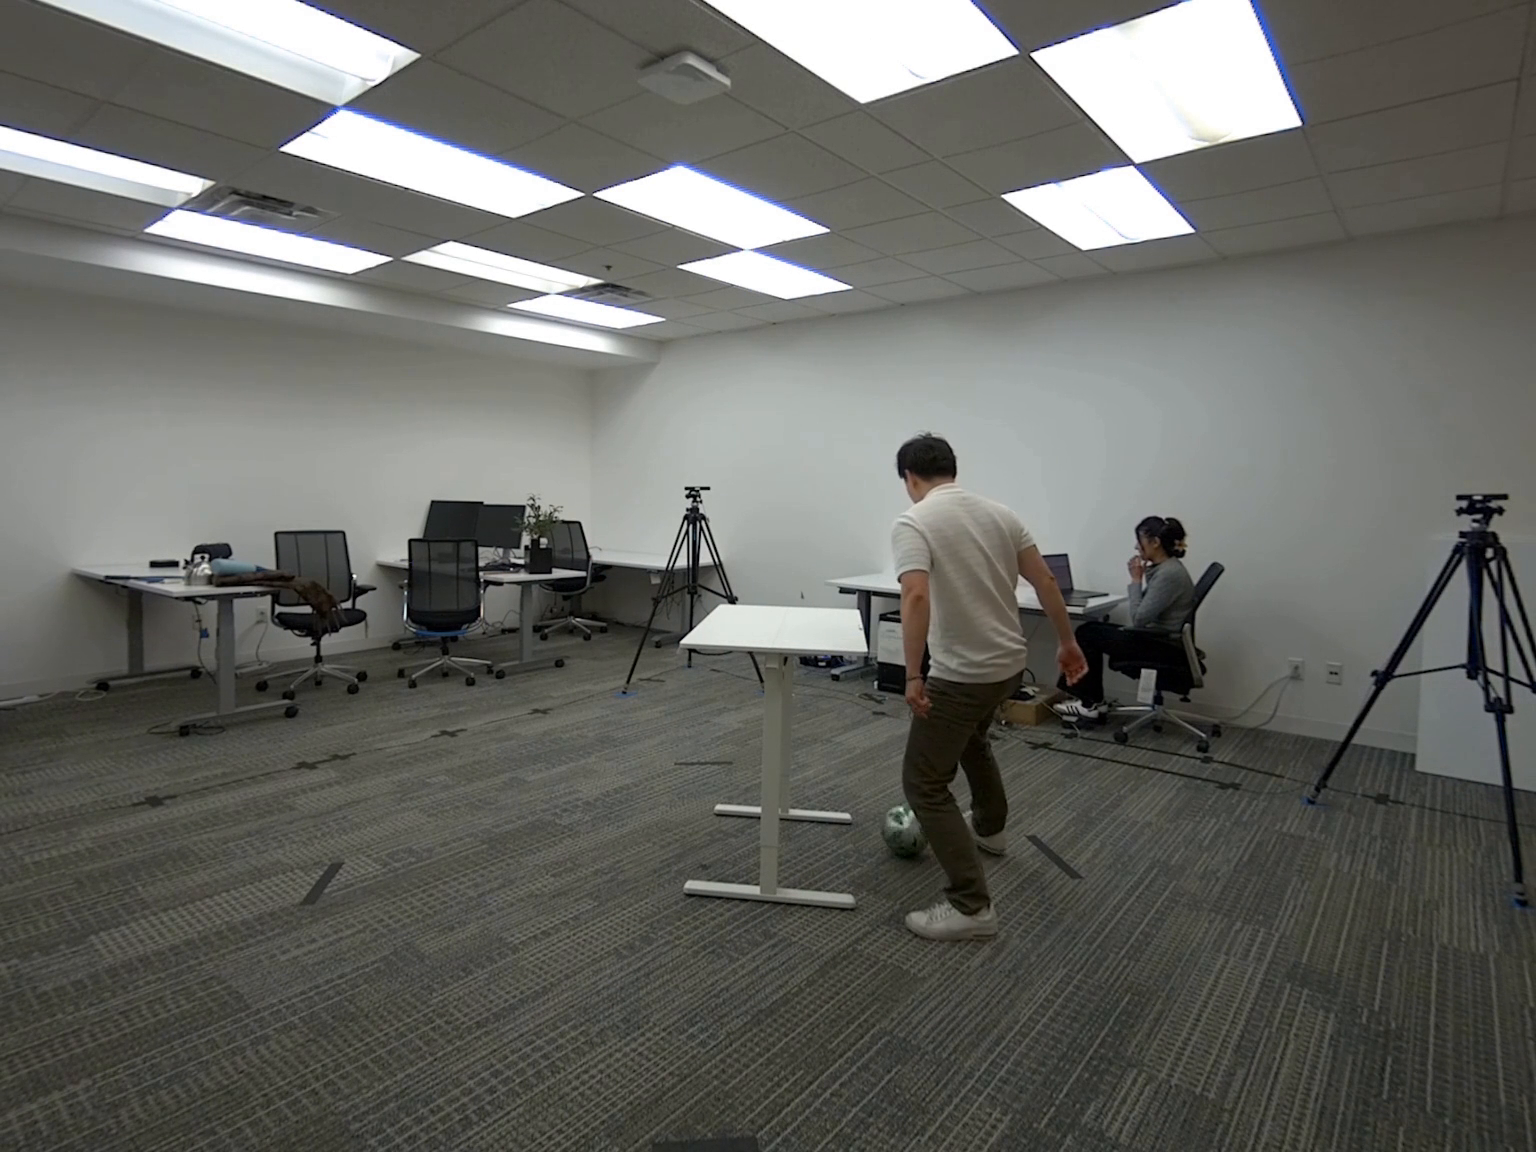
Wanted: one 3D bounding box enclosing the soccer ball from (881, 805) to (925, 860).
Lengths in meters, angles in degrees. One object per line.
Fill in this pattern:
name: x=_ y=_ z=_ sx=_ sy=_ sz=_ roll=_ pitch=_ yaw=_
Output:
soccer ball: x=0.524 y=0.968 z=3.258 sx=0.187 sy=0.187 sz=0.188 roll=1 pitch=4 yaw=-2
